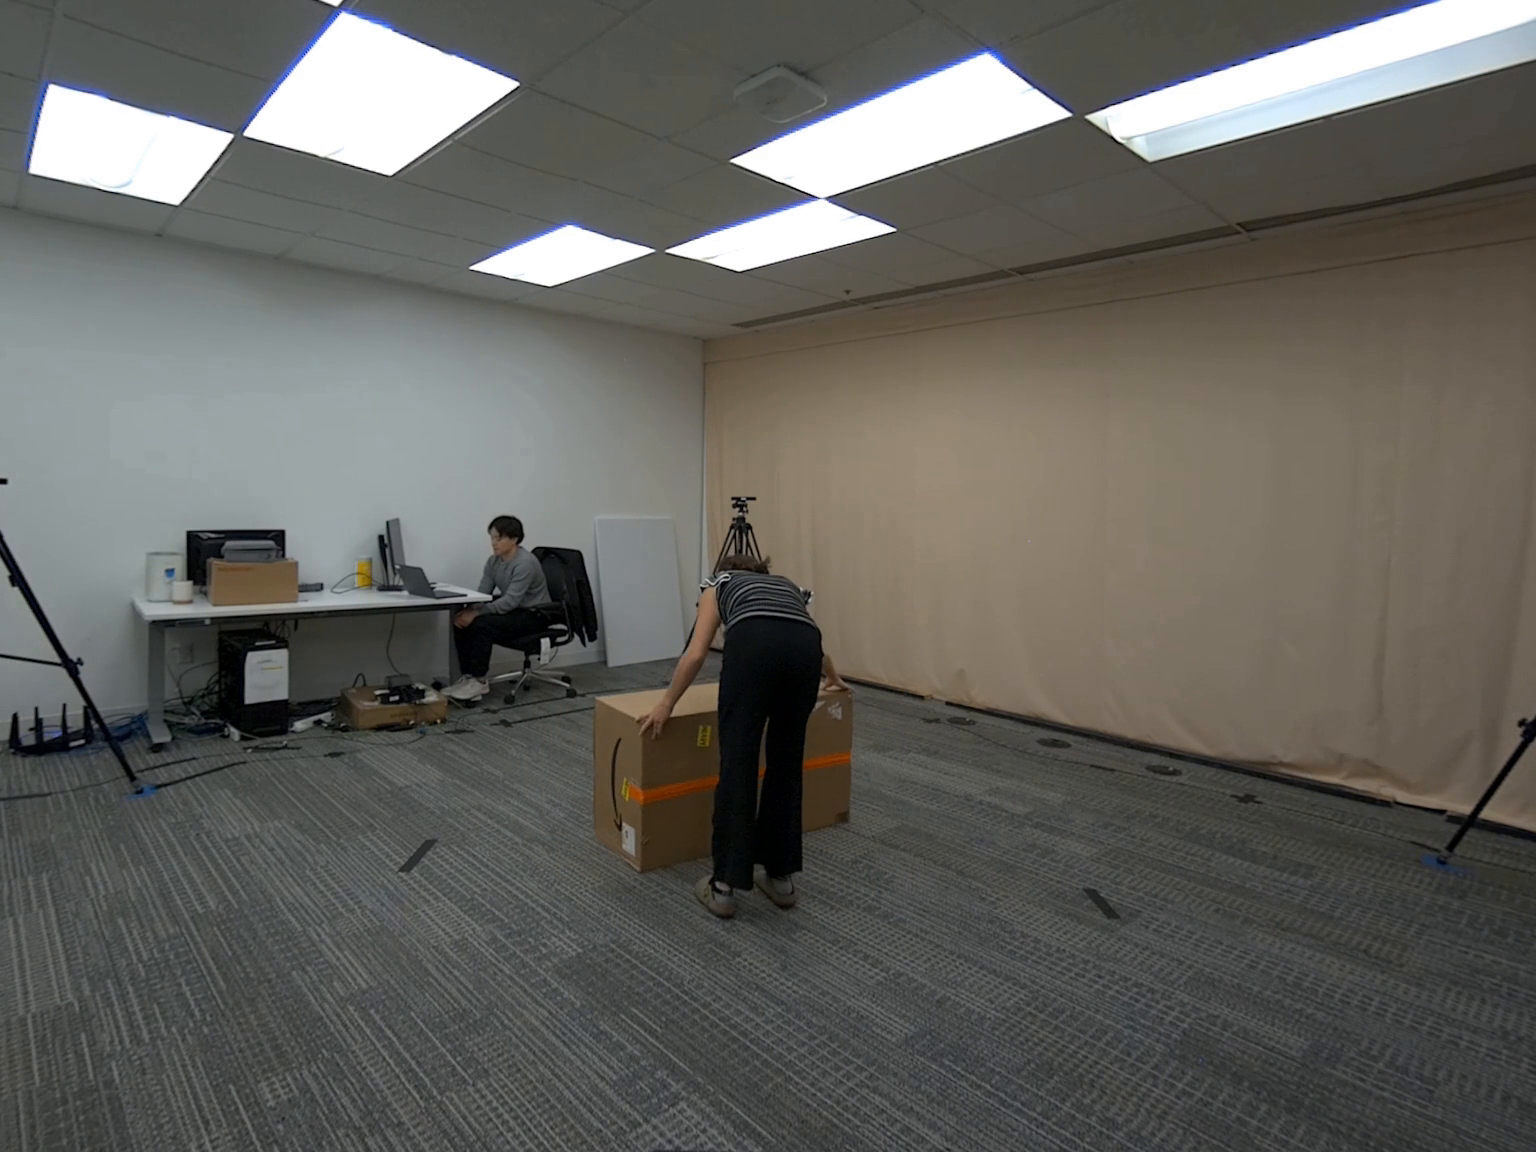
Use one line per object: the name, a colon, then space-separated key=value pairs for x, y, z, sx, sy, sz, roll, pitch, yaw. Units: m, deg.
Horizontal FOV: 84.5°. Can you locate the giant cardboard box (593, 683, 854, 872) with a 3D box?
giant cardboard box: x=-0.176 y=0.779 z=3.545 sx=1.004 sy=0.576 sz=0.436 roll=-2 pitch=5 yaw=-33
